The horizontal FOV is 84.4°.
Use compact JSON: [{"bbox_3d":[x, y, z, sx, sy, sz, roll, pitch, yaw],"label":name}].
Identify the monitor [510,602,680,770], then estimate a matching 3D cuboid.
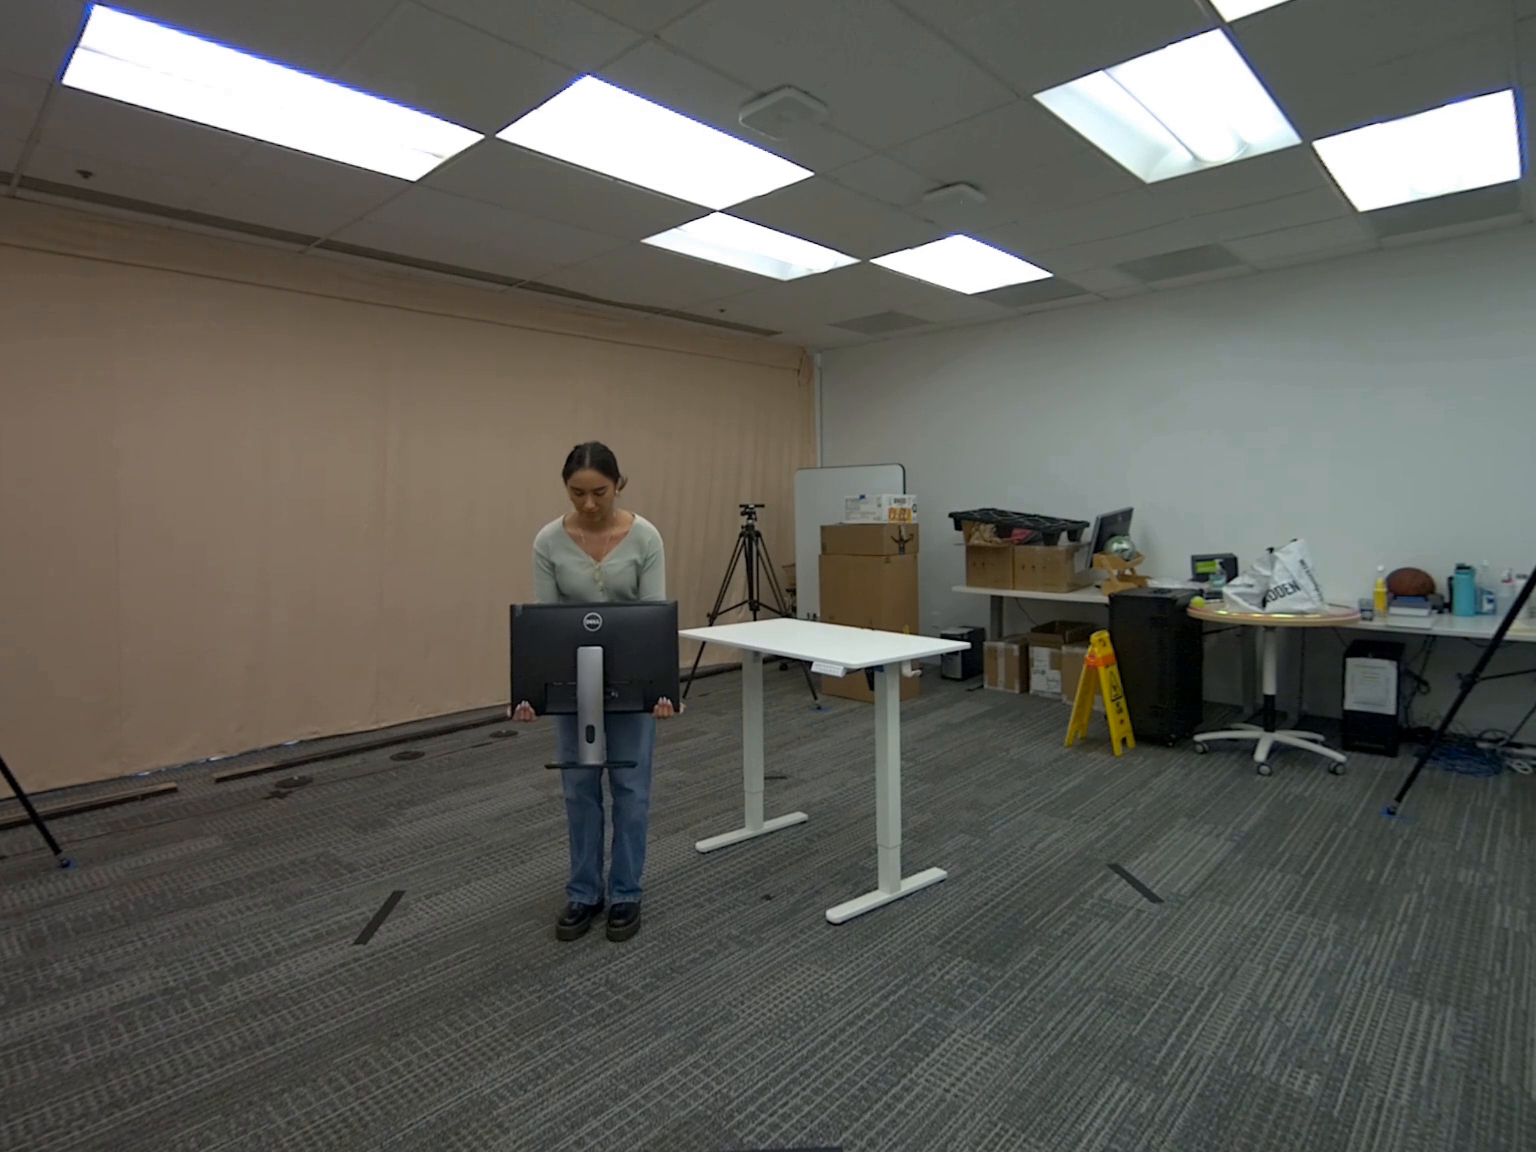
[{"bbox_3d":[-0.547,0.338,2.624,0.537,0.526,0.186,0,-11,-3],"label":"monitor"}]
